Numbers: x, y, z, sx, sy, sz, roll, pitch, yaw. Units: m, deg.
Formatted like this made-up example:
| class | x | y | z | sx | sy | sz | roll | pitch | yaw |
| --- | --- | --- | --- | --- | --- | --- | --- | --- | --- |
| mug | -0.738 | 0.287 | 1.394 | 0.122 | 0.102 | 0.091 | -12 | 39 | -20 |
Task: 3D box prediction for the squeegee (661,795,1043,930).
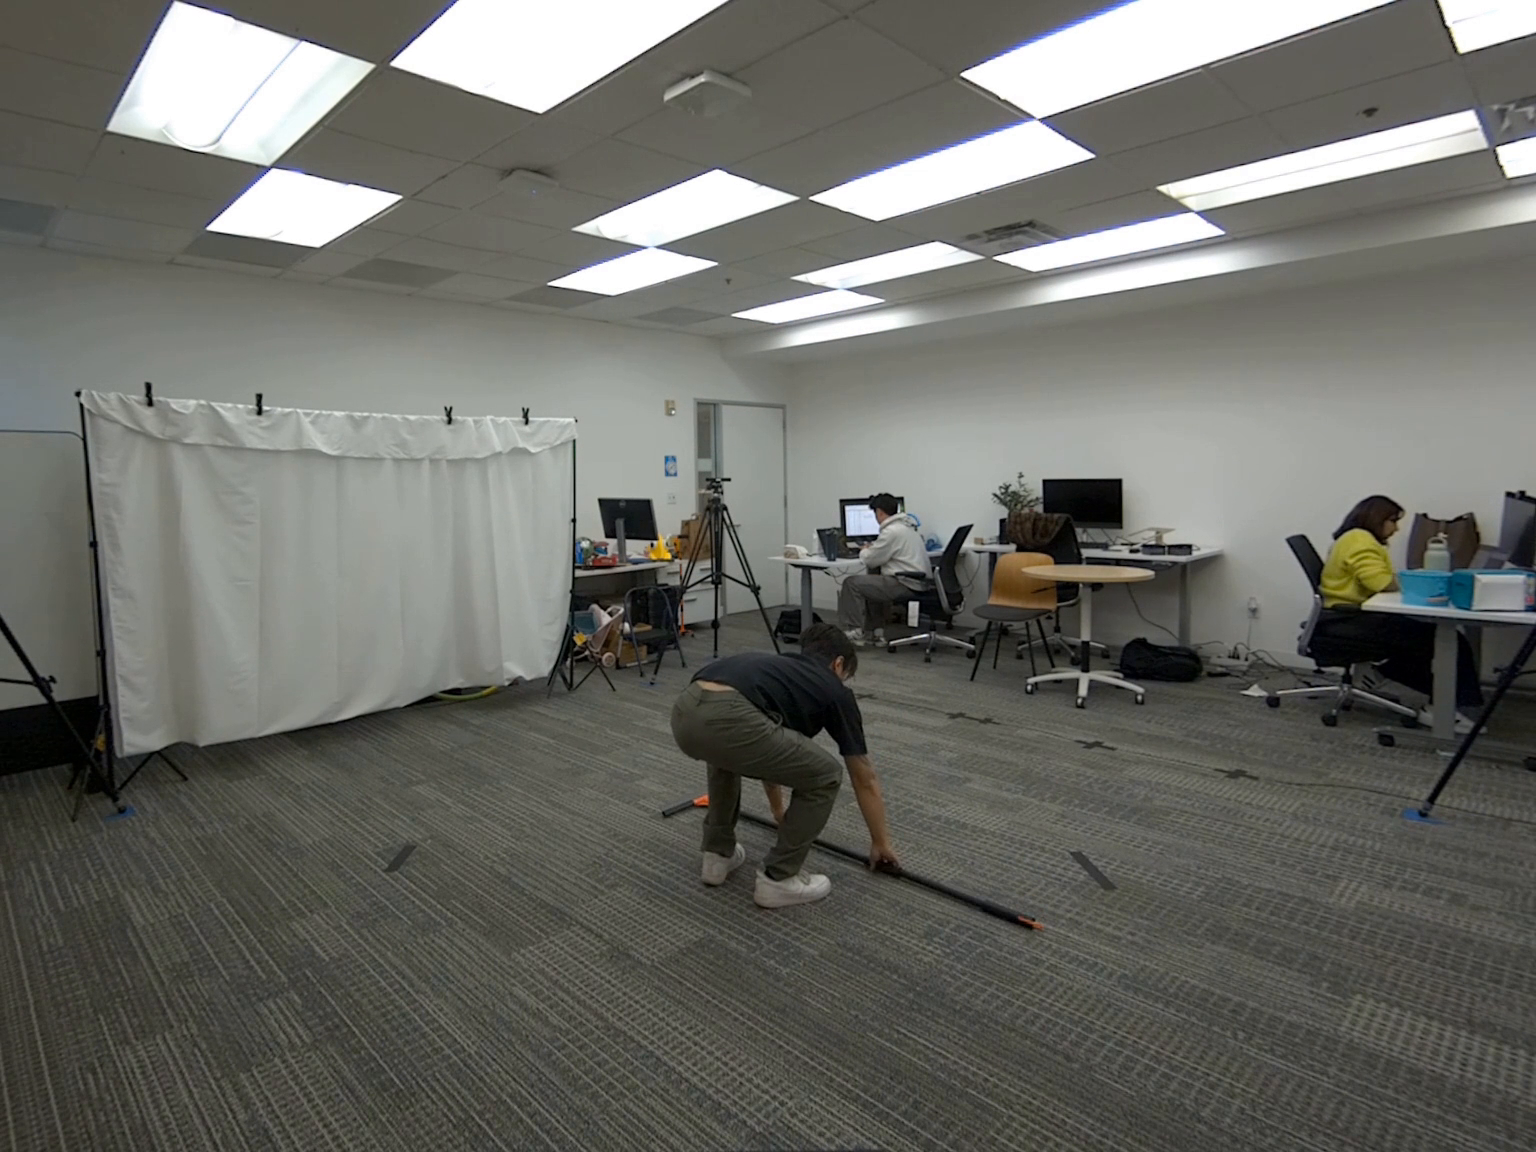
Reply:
| class | x | y | z | sx | sy | sz | roll | pitch | yaw |
| --- | --- | --- | --- | --- | --- | --- | --- | --- | --- |
| squeegee | 0.257 | 0.991 | 3.147 | 1.586 | 0.053 | 0.426 | 6 | 9 | 45 |
